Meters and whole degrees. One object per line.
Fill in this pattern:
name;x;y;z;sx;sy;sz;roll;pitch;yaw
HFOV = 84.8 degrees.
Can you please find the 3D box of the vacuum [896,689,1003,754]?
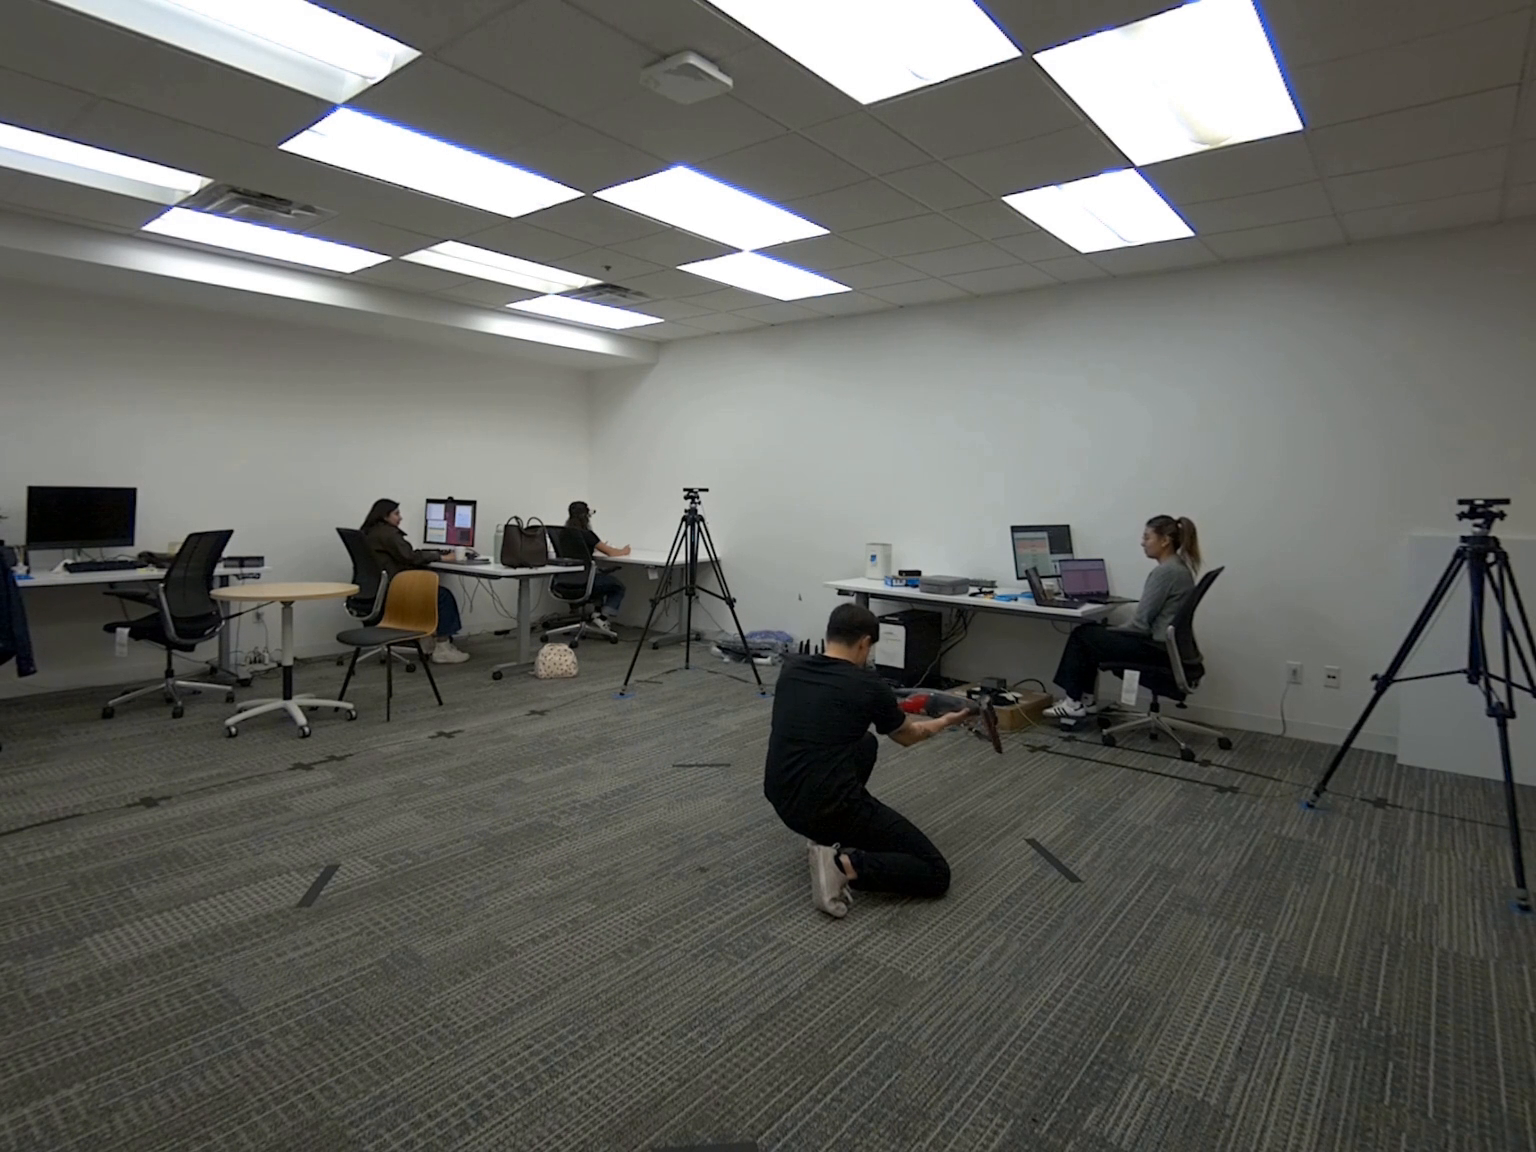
vacuum;0.486;0.513;3.701;1.086;0.244;0.144;7;44;45
